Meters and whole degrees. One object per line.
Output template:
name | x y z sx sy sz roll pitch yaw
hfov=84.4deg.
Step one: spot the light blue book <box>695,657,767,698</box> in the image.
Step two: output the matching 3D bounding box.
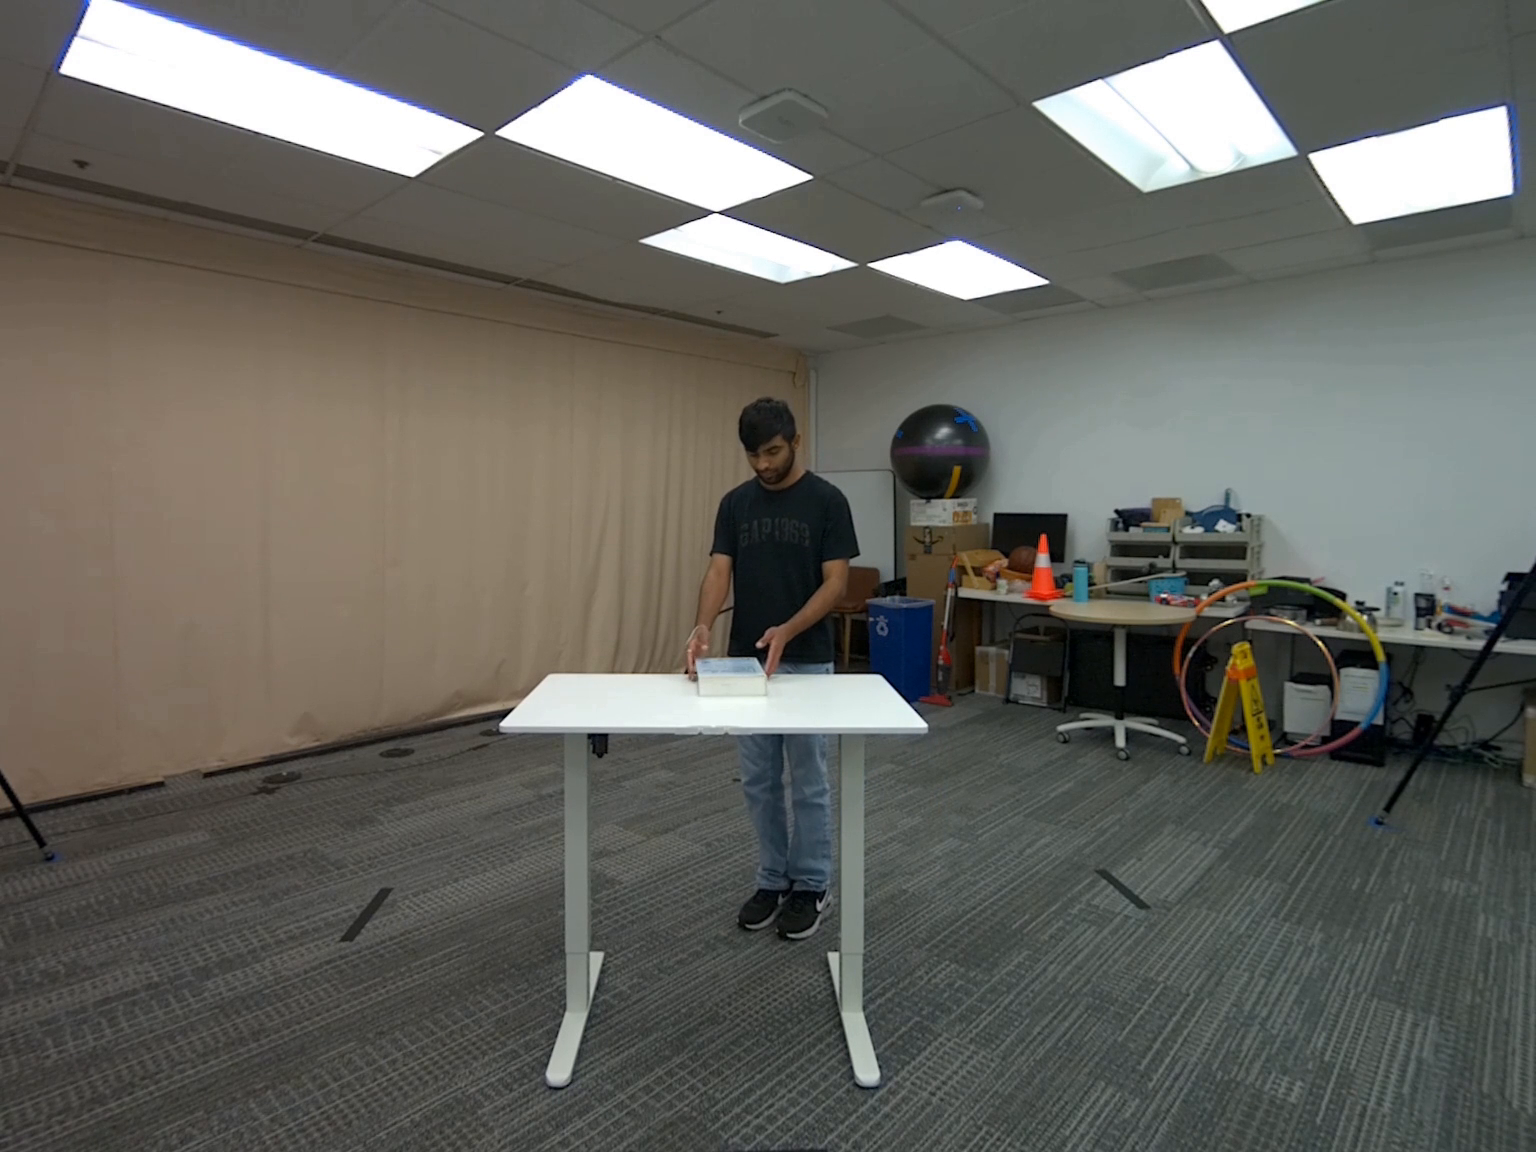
light blue book | -0.110 0.283 2.387 0.191 0.059 0.262 0 5 -4
